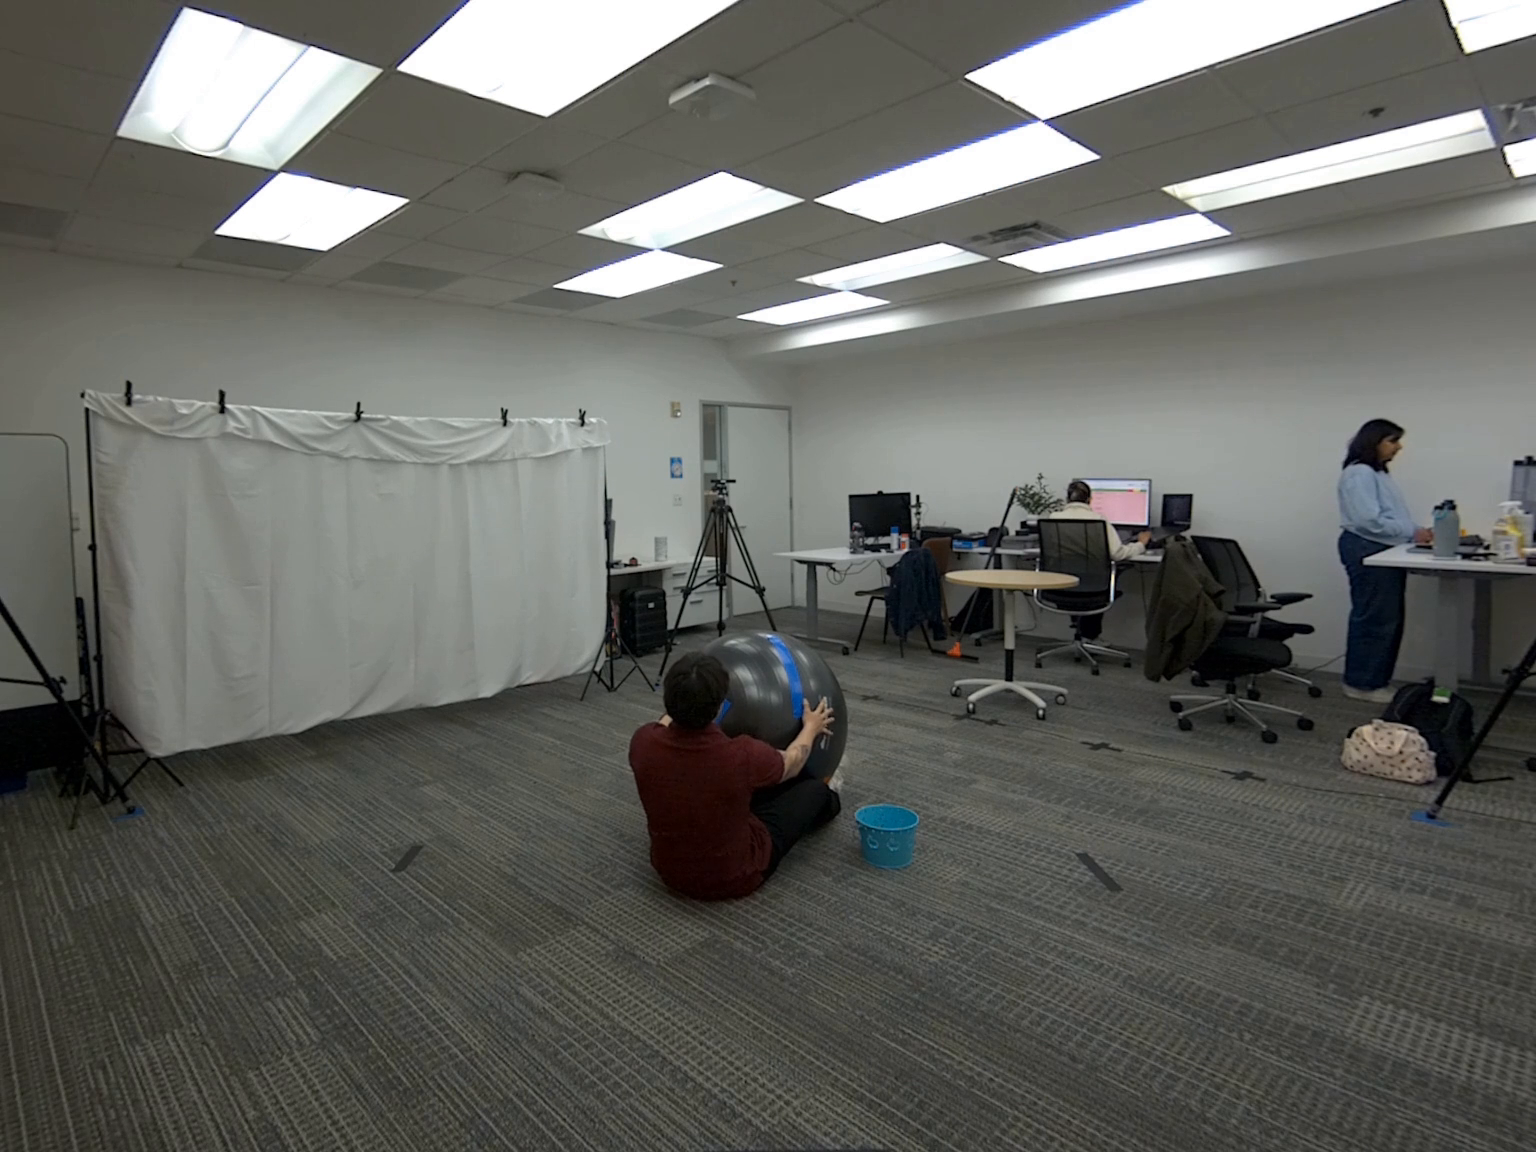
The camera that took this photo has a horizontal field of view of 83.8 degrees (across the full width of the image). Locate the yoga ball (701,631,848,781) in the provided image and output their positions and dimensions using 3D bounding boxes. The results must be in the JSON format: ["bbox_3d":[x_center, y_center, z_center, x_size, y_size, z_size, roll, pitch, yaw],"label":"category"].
[{"bbox_3d":[-0.052,0.612,3.581,0.757,0.755,0.762,-1,5,-2],"label":"yoga ball"}]
